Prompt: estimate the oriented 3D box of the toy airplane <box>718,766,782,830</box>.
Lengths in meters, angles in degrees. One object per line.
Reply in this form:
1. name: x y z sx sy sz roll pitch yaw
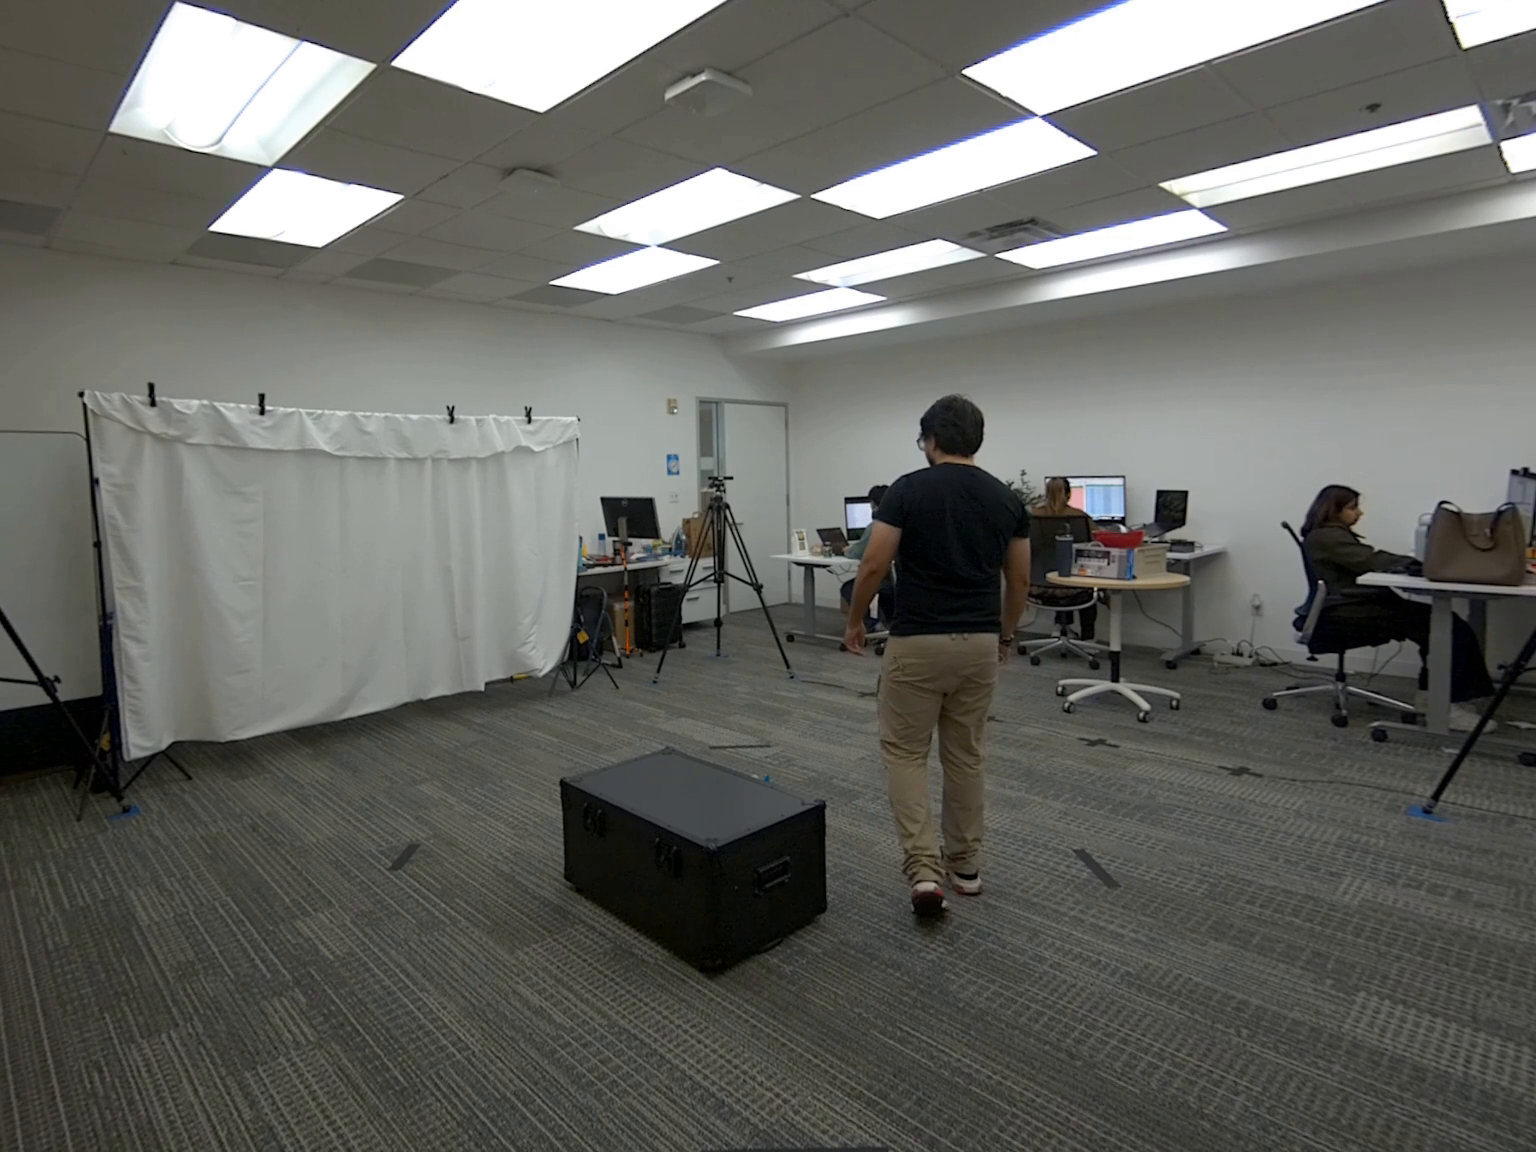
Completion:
1. toy airplane: -0.073 0.912 3.543 0.252 0.155 0.260 0 7 1
